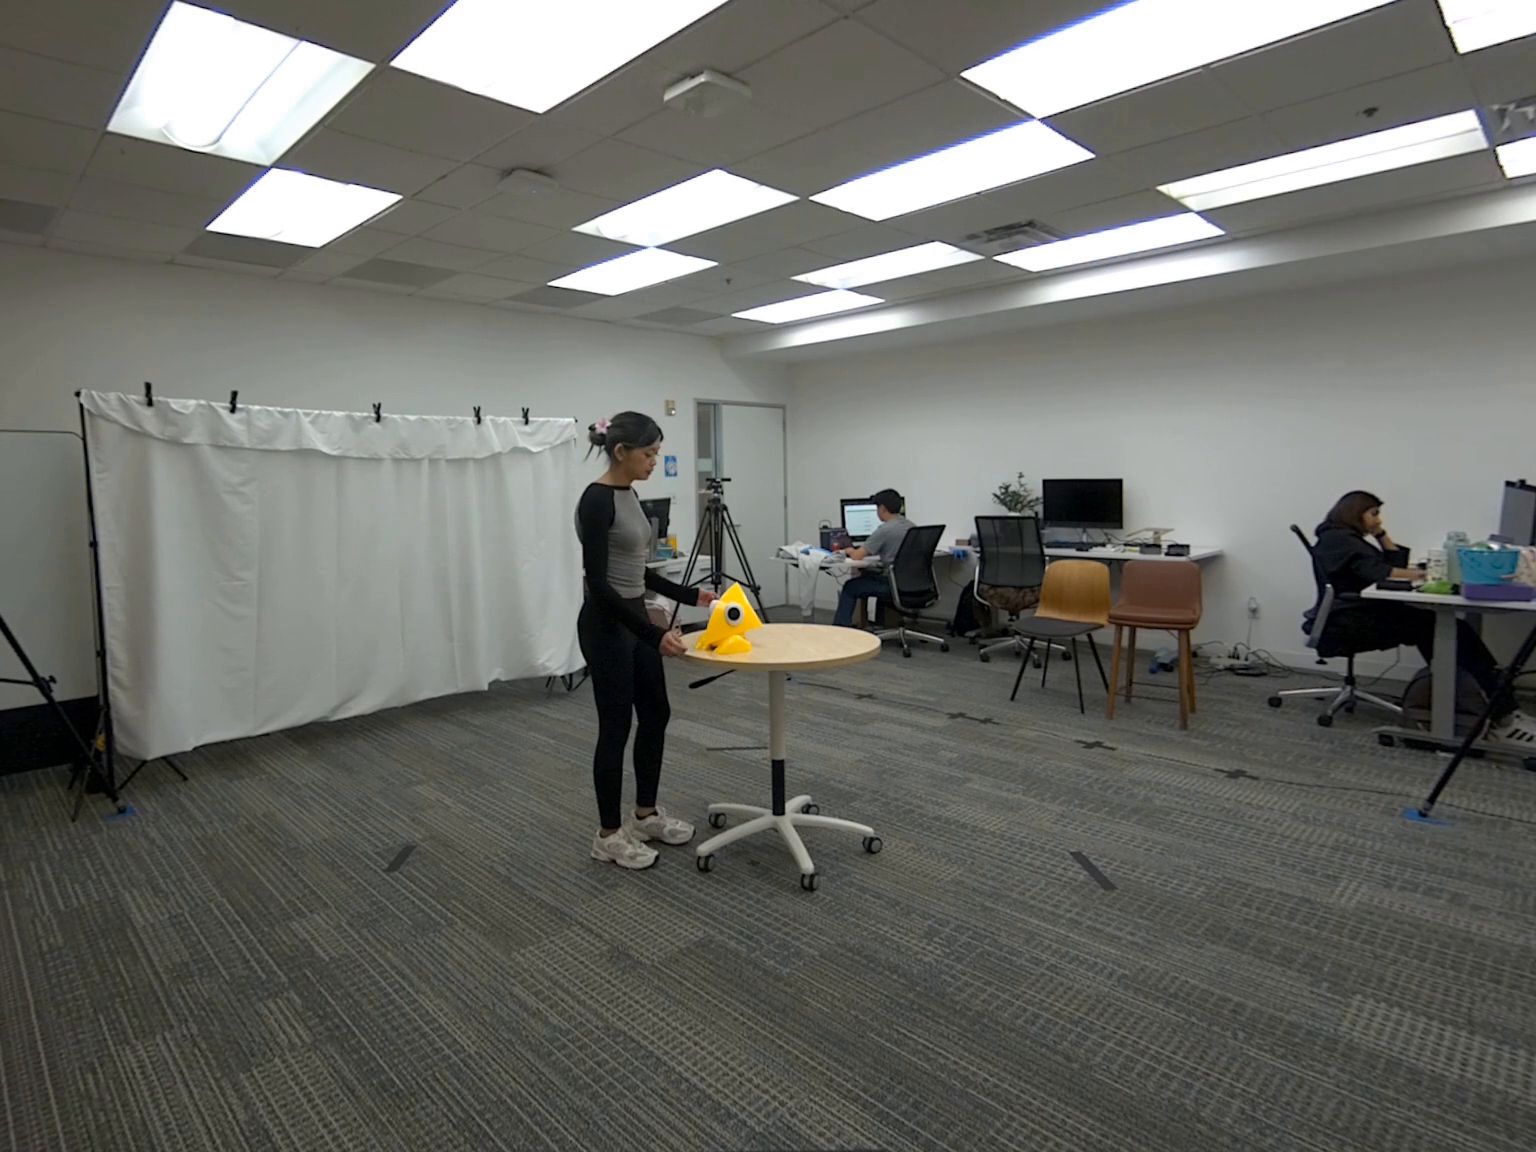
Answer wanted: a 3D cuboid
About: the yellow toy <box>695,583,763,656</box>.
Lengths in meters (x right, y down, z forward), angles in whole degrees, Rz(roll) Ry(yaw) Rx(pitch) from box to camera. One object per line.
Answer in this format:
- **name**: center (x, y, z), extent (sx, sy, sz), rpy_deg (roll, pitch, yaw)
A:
- **yellow toy**: center (-0.155, 0.143, 3.044), extent (0.188, 0.229, 0.211), rpy_deg (-6, 7, -40)
